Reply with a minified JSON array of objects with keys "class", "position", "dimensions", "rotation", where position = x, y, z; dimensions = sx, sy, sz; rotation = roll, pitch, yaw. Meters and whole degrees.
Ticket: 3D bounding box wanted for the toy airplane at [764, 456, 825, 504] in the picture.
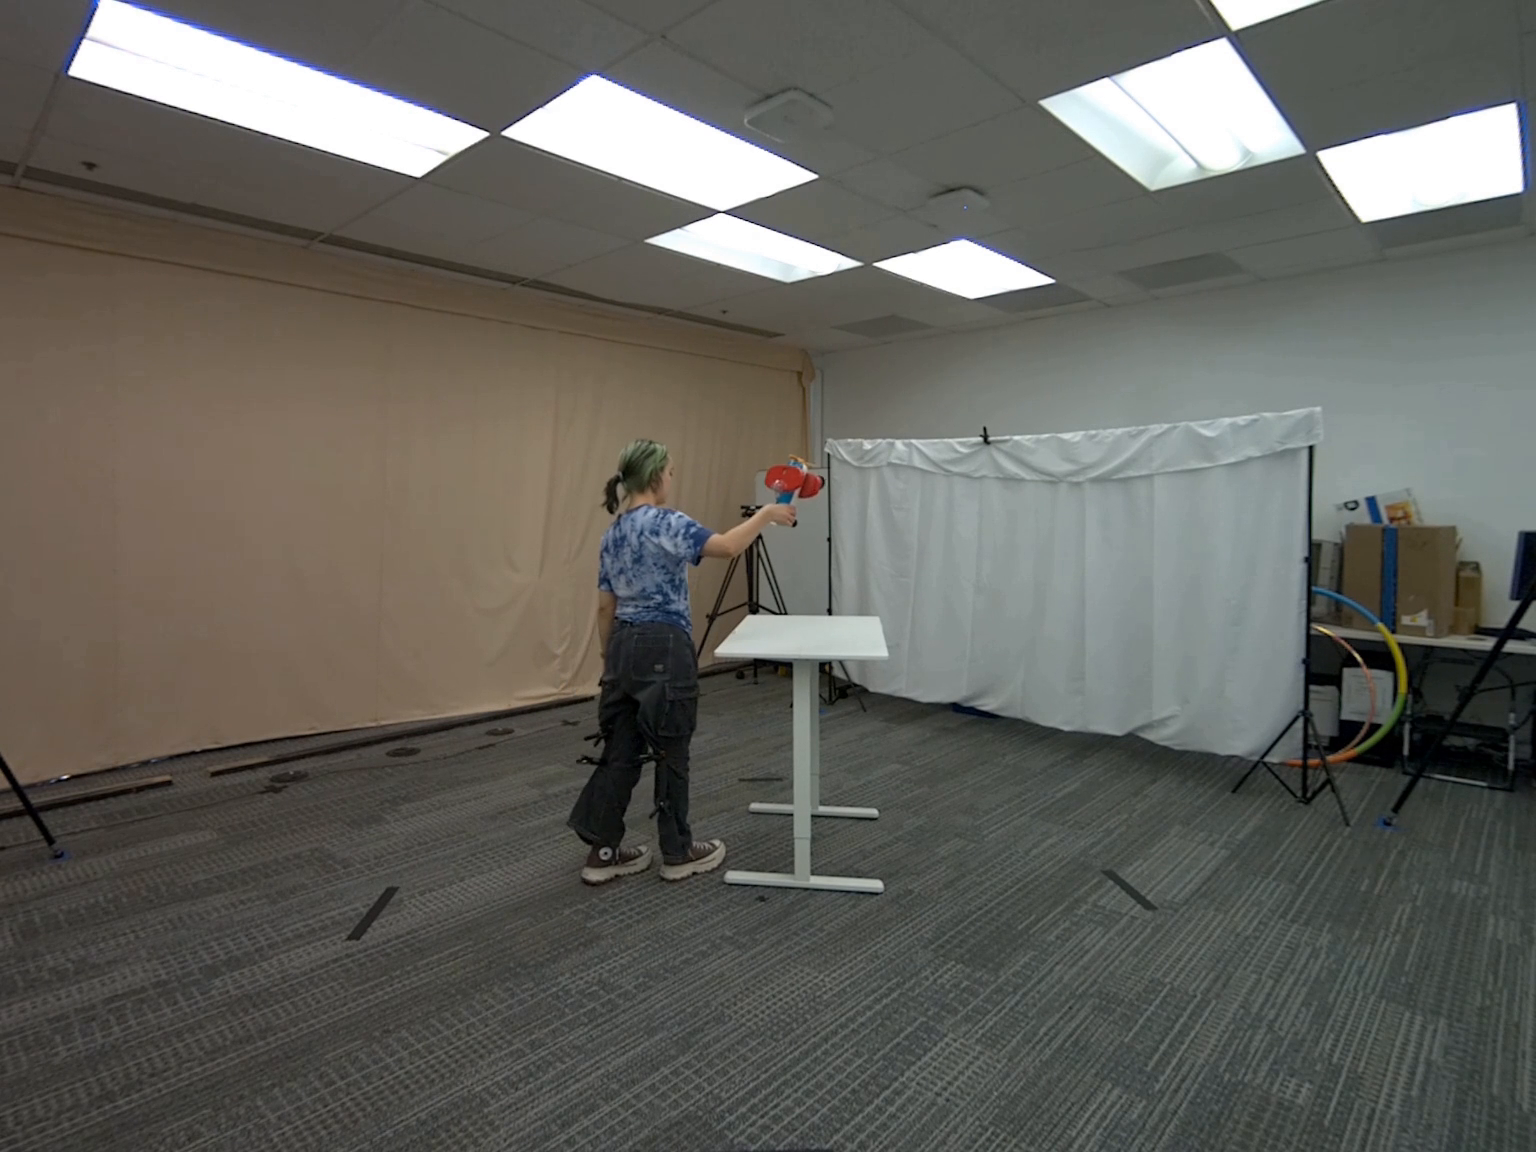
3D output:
[{"class":"toy airplane","position":[0.102,-0.306,3.122],"dimensions":[0.152,0.261,0.256],"rotation":[36,-37,-27]}]
